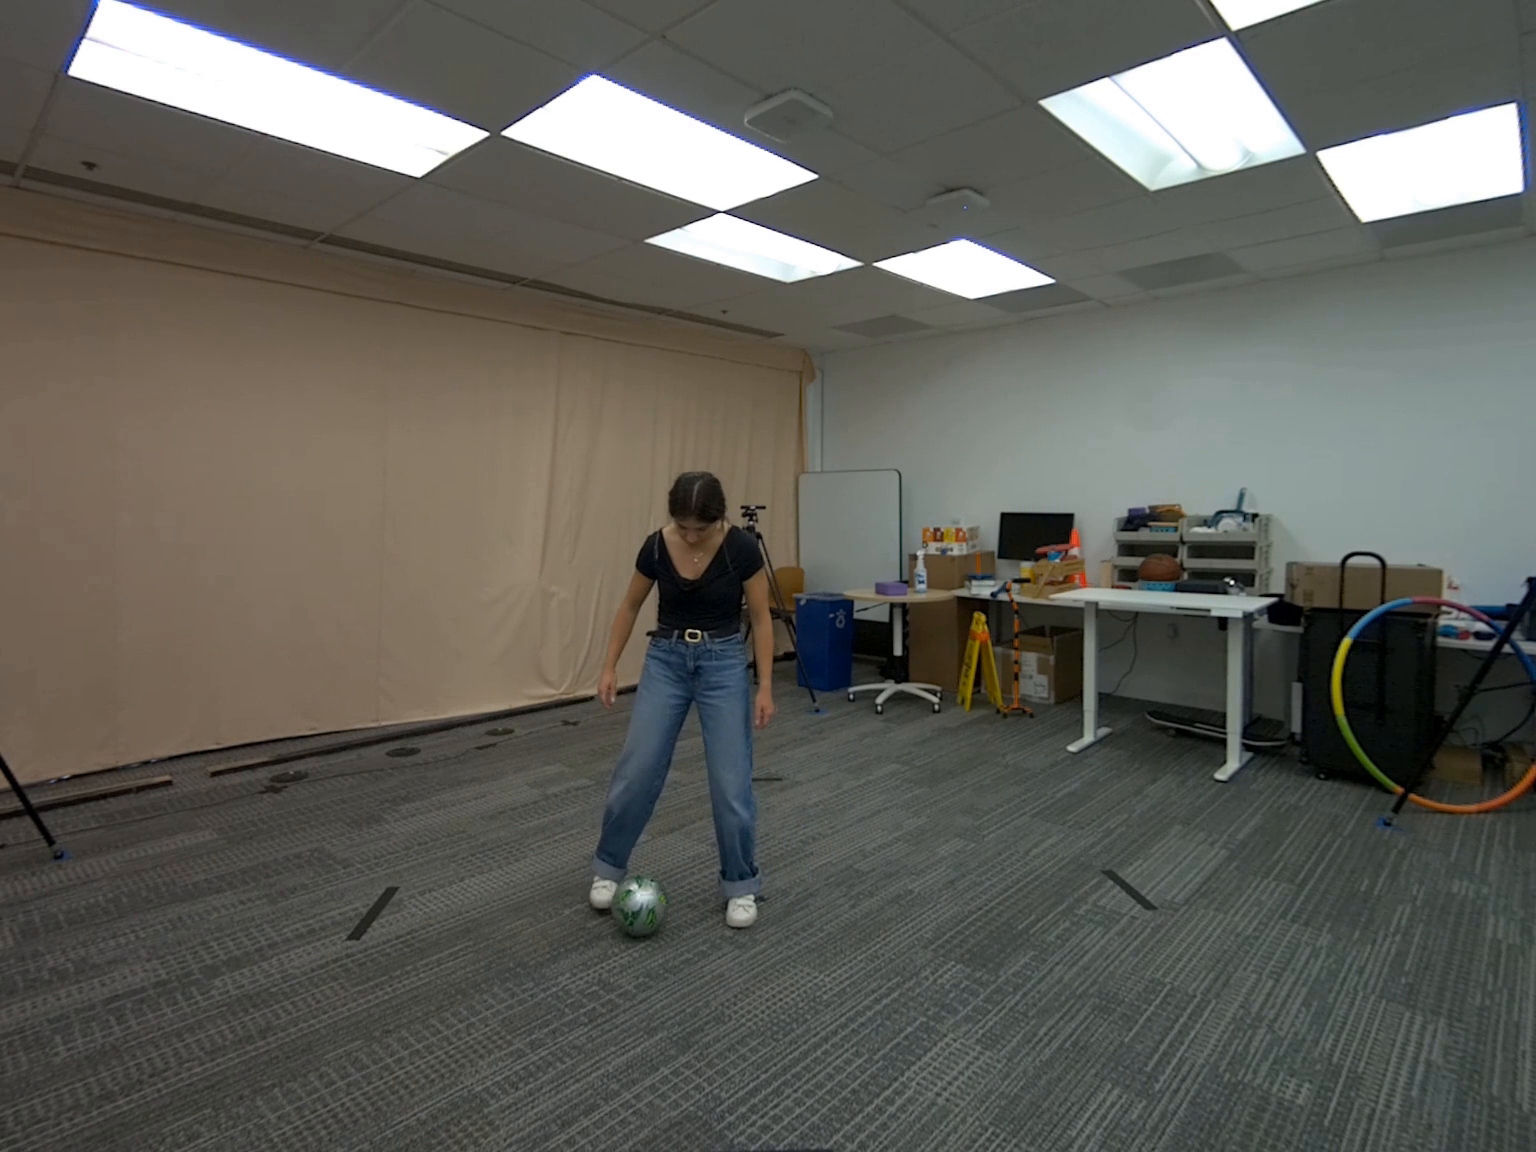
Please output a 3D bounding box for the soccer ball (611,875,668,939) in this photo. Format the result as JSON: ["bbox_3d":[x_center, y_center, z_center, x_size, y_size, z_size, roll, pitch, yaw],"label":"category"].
[{"bbox_3d":[-0.413,1.078,2.739,0.187,0.187,0.188,0,4,-2],"label":"soccer ball"}]
